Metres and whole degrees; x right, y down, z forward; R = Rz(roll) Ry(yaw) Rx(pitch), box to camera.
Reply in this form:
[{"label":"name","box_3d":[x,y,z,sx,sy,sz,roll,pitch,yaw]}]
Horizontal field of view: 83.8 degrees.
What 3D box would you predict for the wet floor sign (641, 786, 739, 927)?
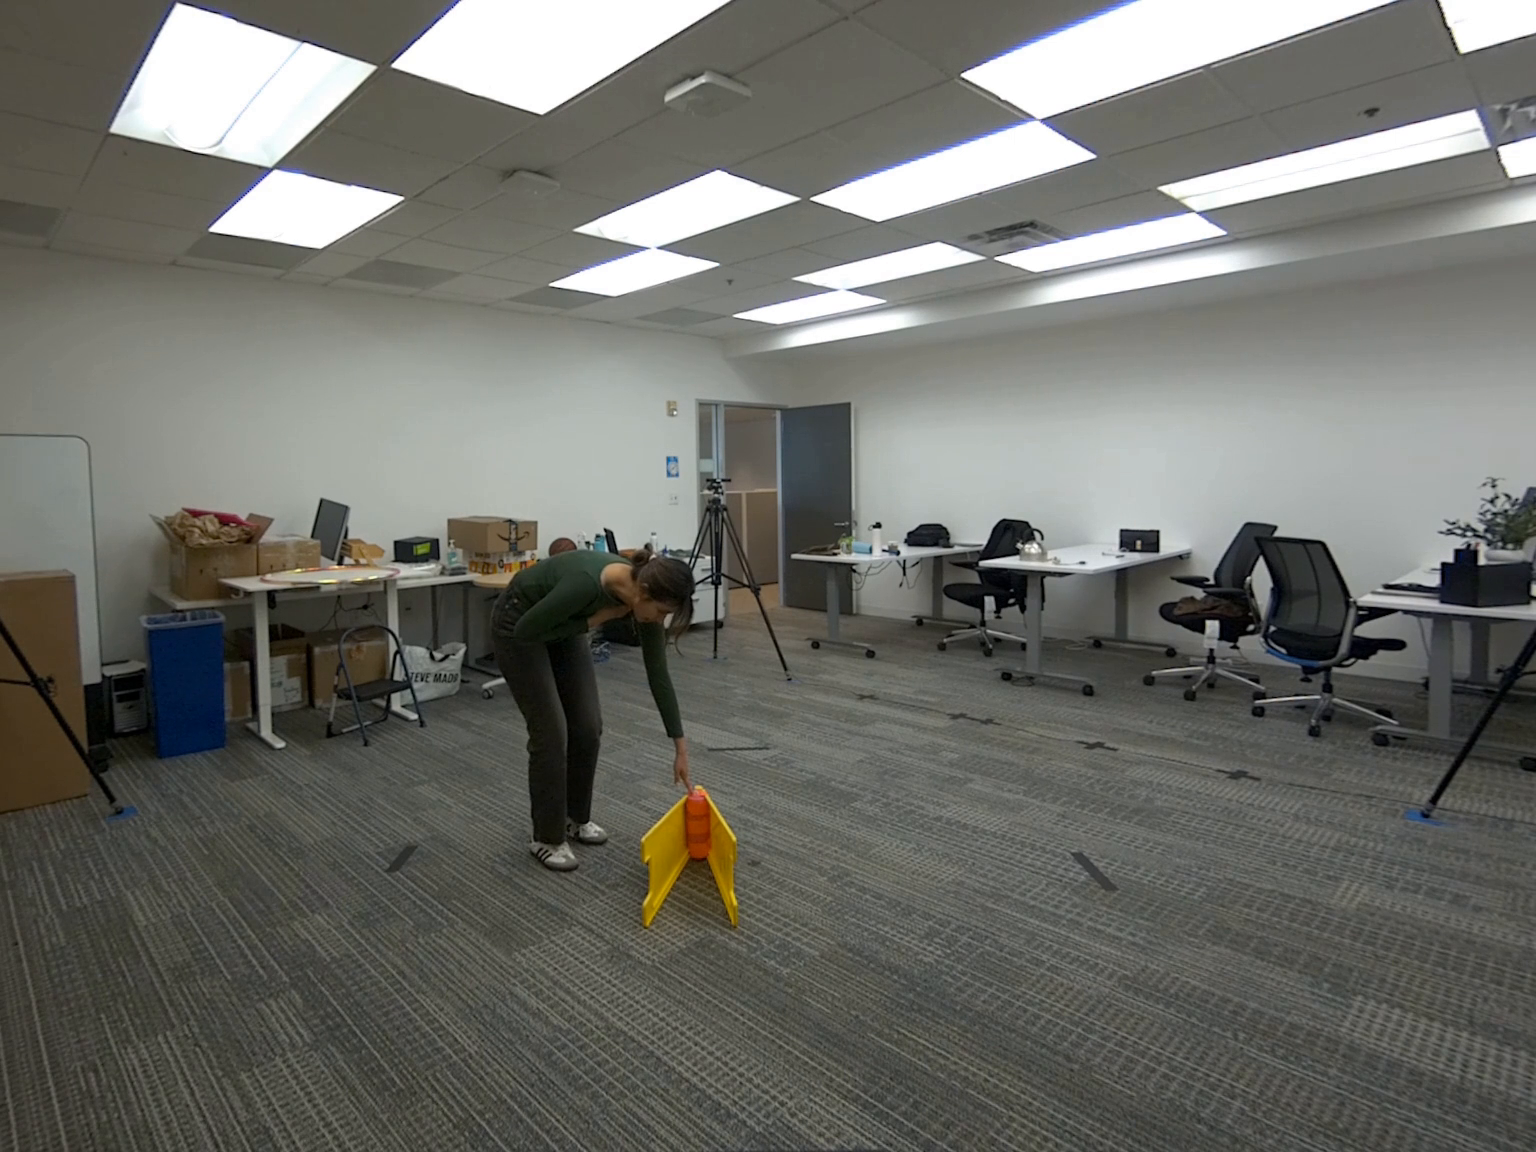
[{"label":"wet floor sign","box_3d":[-0.254,0.928,2.985,0.290,0.281,0.648,-1,4,-2]}]
